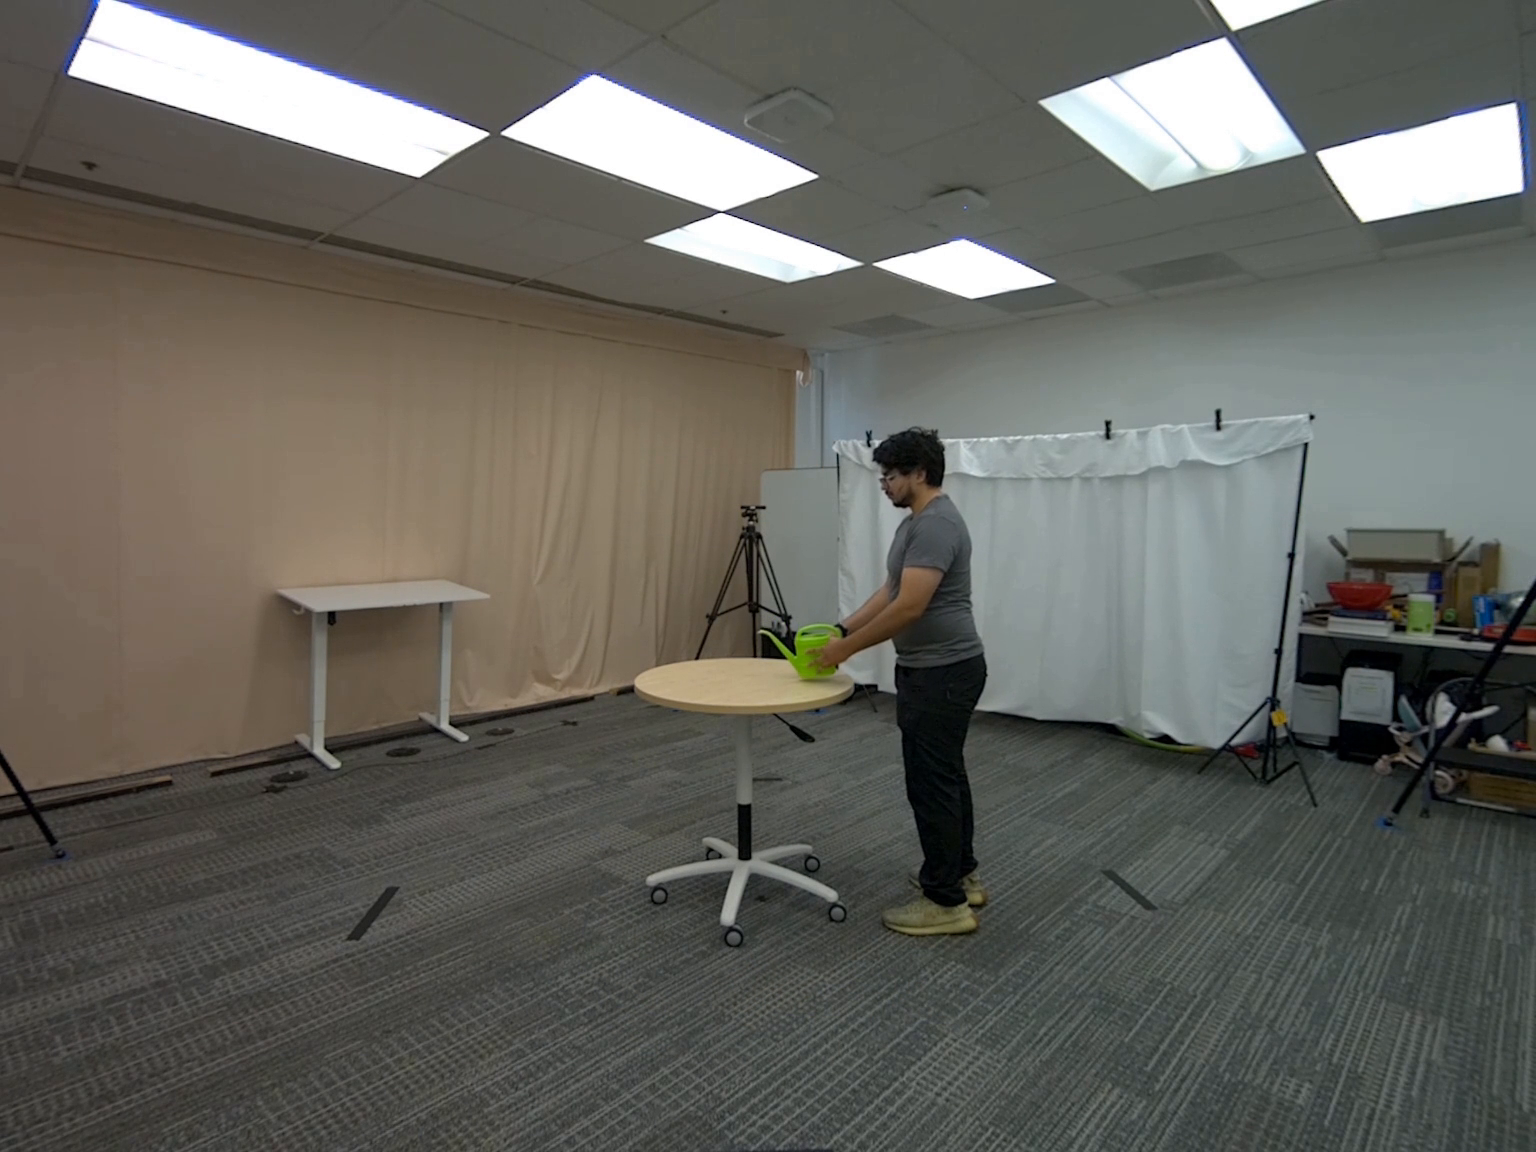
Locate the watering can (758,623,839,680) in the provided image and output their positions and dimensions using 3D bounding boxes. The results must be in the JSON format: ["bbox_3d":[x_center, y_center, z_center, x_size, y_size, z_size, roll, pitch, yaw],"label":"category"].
[{"bbox_3d":[0.128,0.260,2.937,0.283,0.176,0.096,-4,4,18],"label":"watering can"}]
